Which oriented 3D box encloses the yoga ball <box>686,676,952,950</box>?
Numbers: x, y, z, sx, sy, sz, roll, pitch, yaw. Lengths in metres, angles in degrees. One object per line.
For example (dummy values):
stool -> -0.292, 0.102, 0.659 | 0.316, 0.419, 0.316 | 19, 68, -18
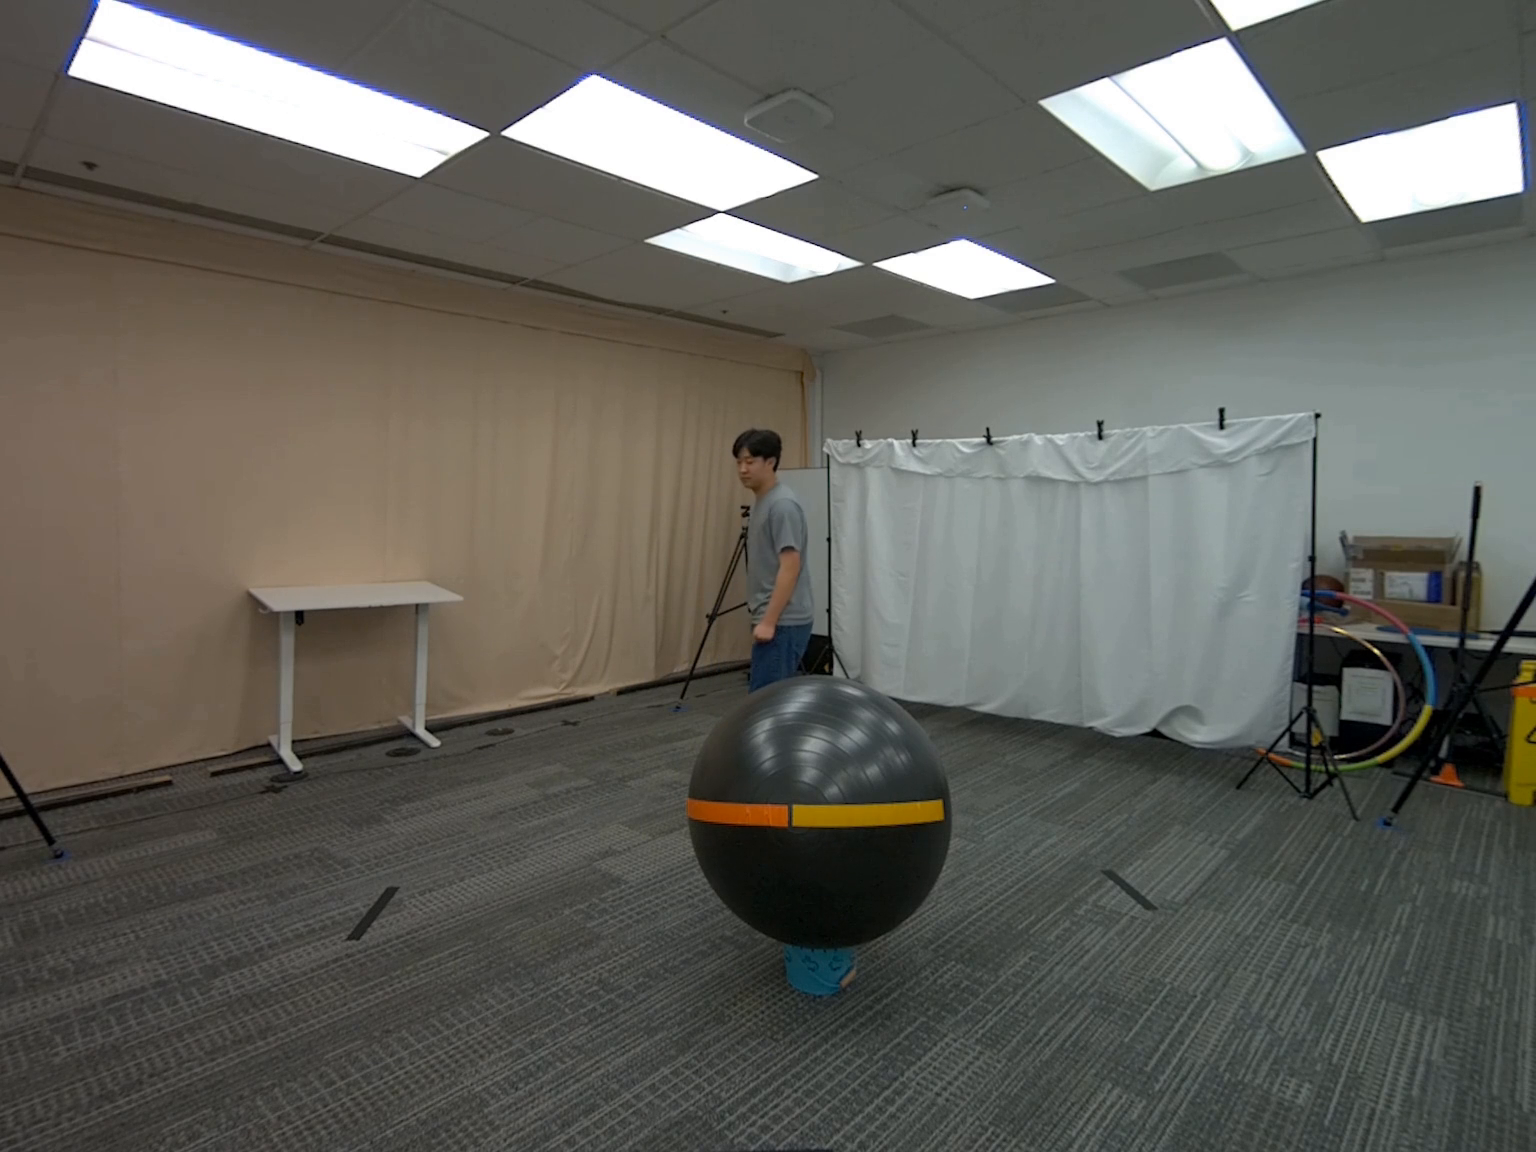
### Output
yoga ball -> 0.153, 0.677, 2.462 | 0.757, 0.756, 0.761 | 0, 4, -2
